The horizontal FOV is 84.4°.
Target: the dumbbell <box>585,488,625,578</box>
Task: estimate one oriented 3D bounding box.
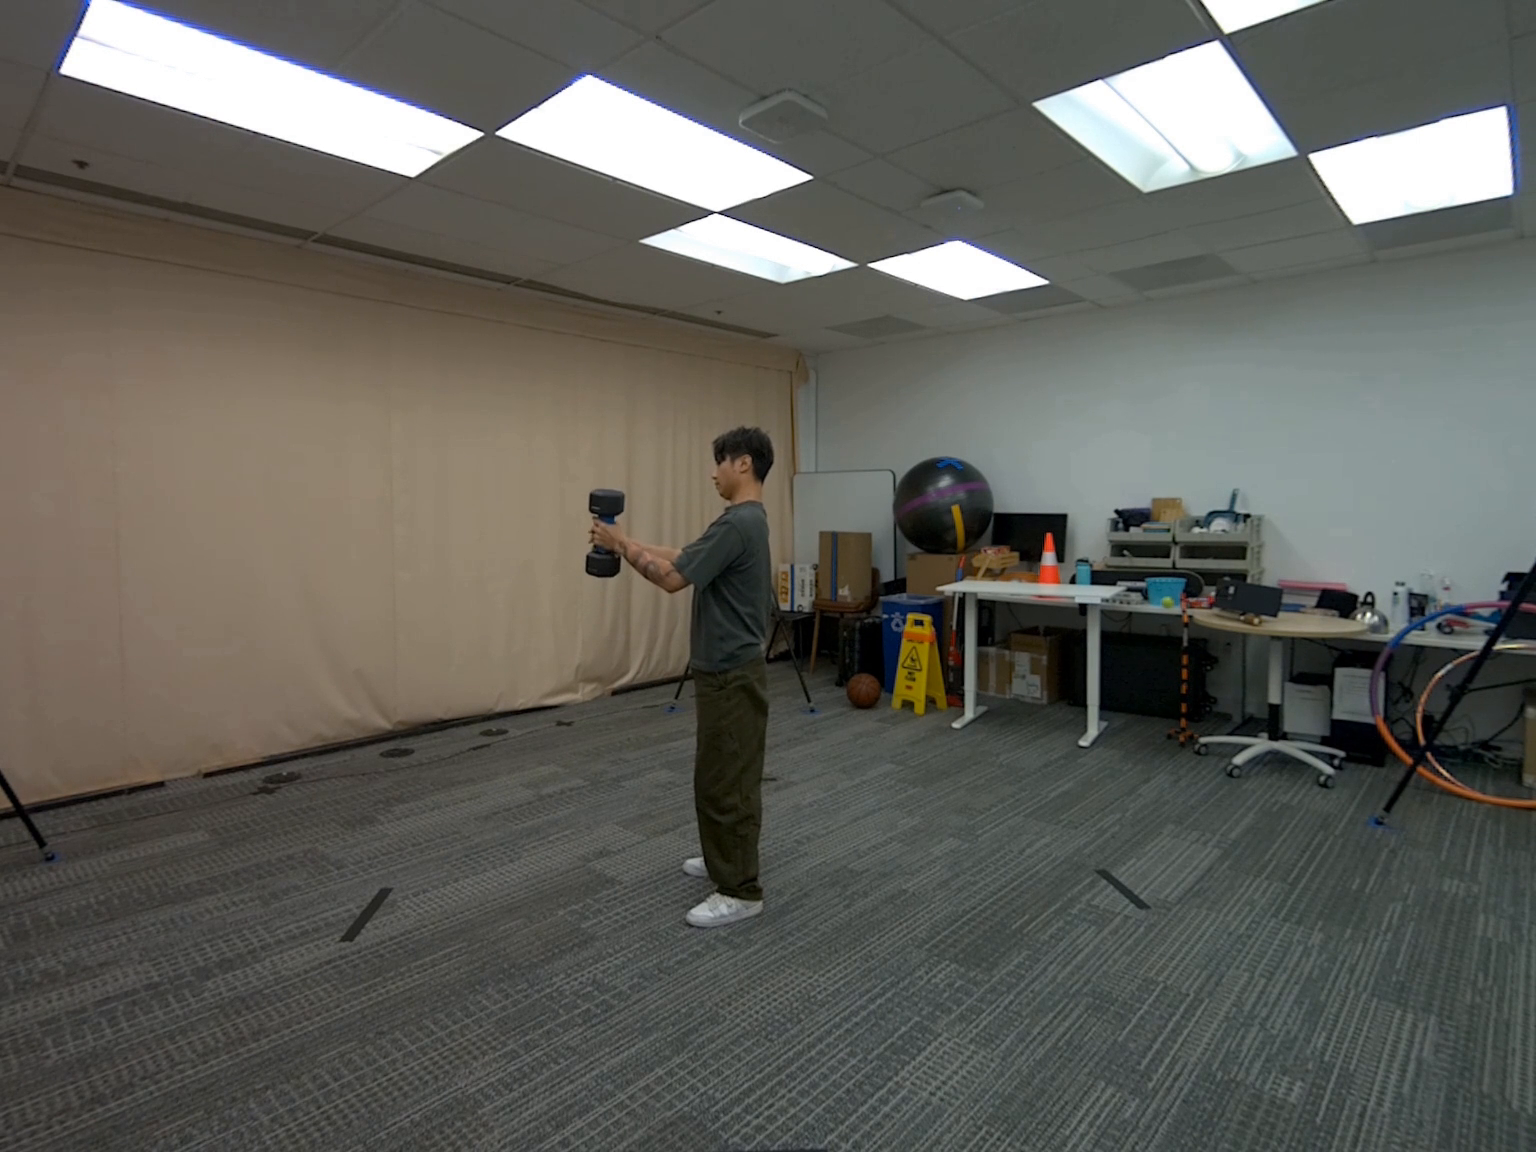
[{"bbox_3d":[-0.552,-0.146,2.876,0.108,0.292,0.124,4,11,-6],"label":"dumbbell"}]
